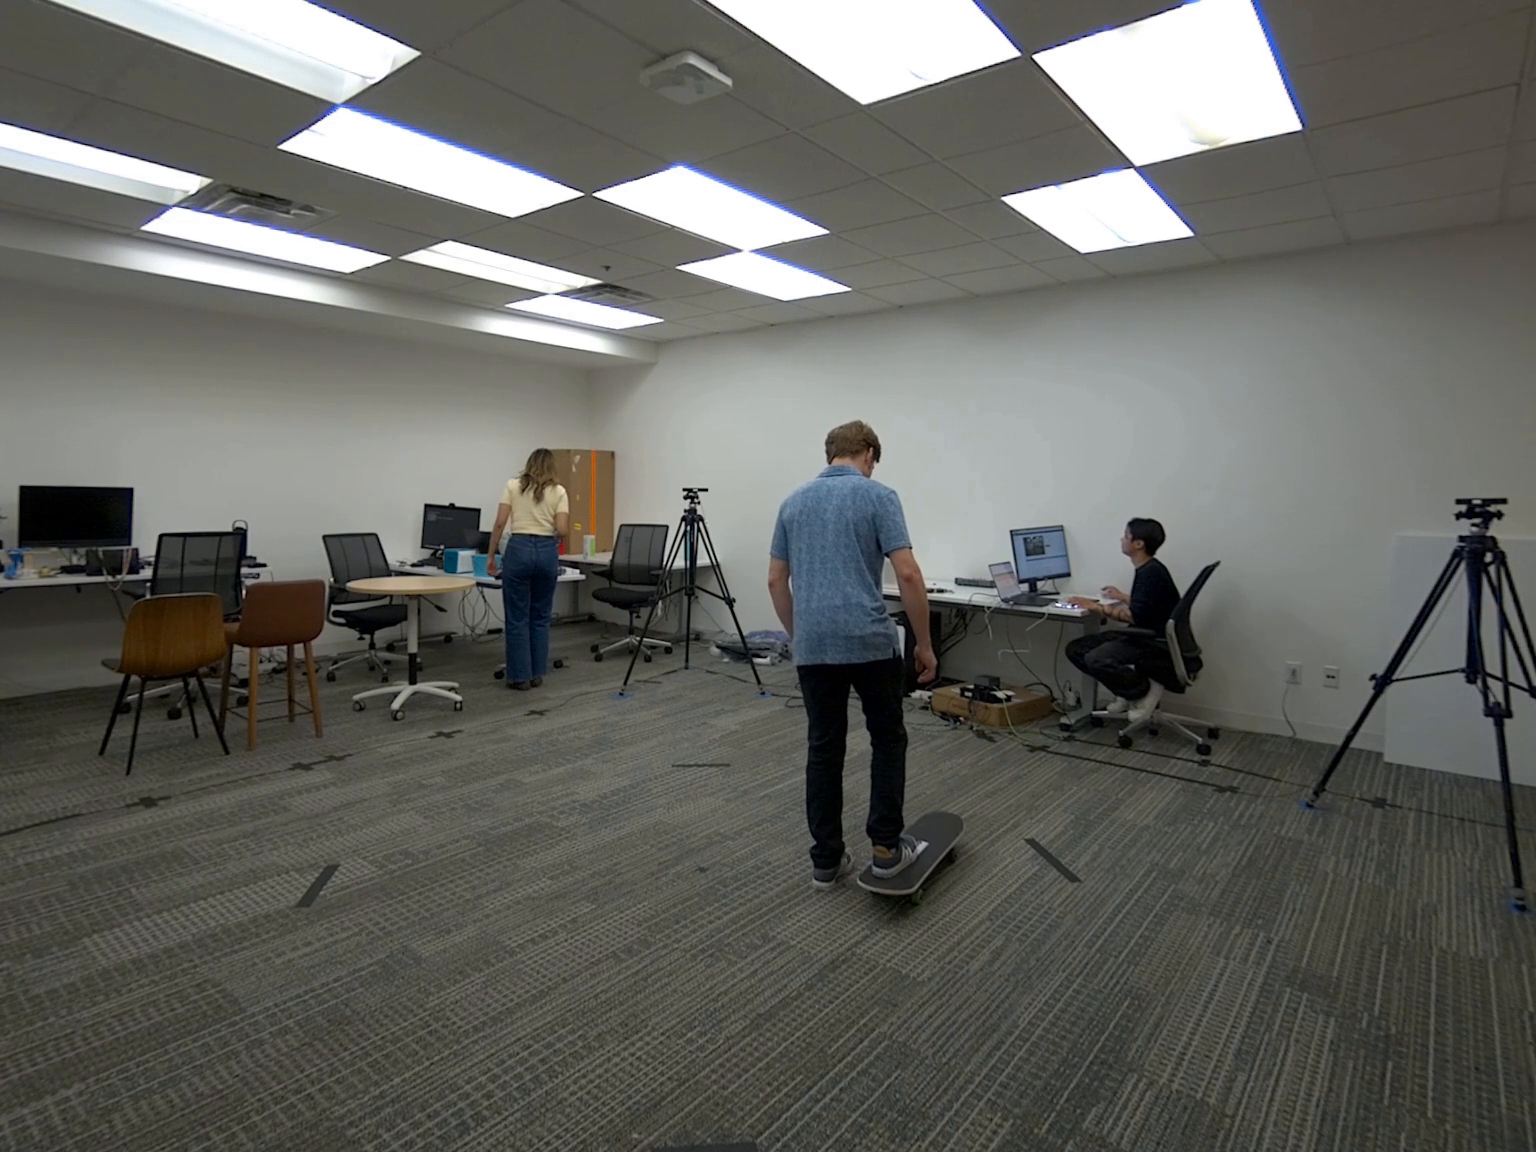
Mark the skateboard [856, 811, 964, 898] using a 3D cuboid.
[{"bbox_3d":[0.526,1.029,3.101,0.199,0.110,0.766,2,6,29],"label":"skateboard"}]
